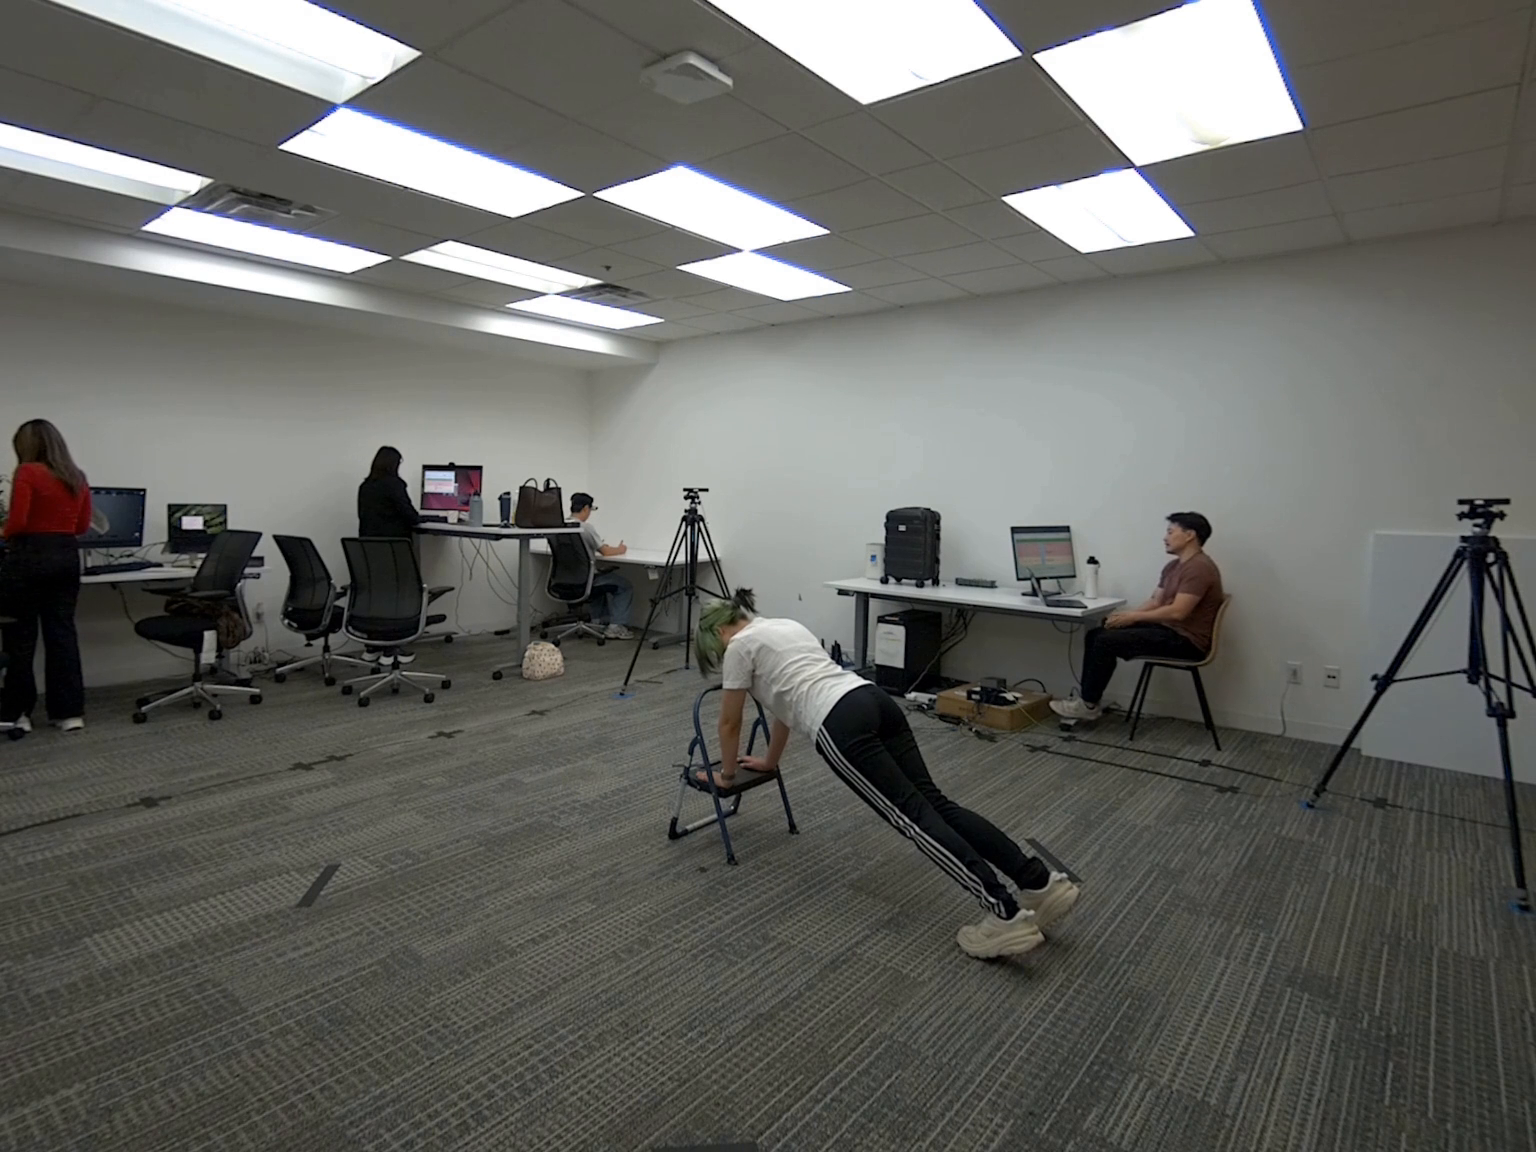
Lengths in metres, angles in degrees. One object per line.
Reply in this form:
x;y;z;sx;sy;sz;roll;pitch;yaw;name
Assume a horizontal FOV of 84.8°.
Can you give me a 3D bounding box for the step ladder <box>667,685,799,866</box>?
-0.143;0.740;3.403;0.361;0.604;0.418;4;4;38;step ladder
